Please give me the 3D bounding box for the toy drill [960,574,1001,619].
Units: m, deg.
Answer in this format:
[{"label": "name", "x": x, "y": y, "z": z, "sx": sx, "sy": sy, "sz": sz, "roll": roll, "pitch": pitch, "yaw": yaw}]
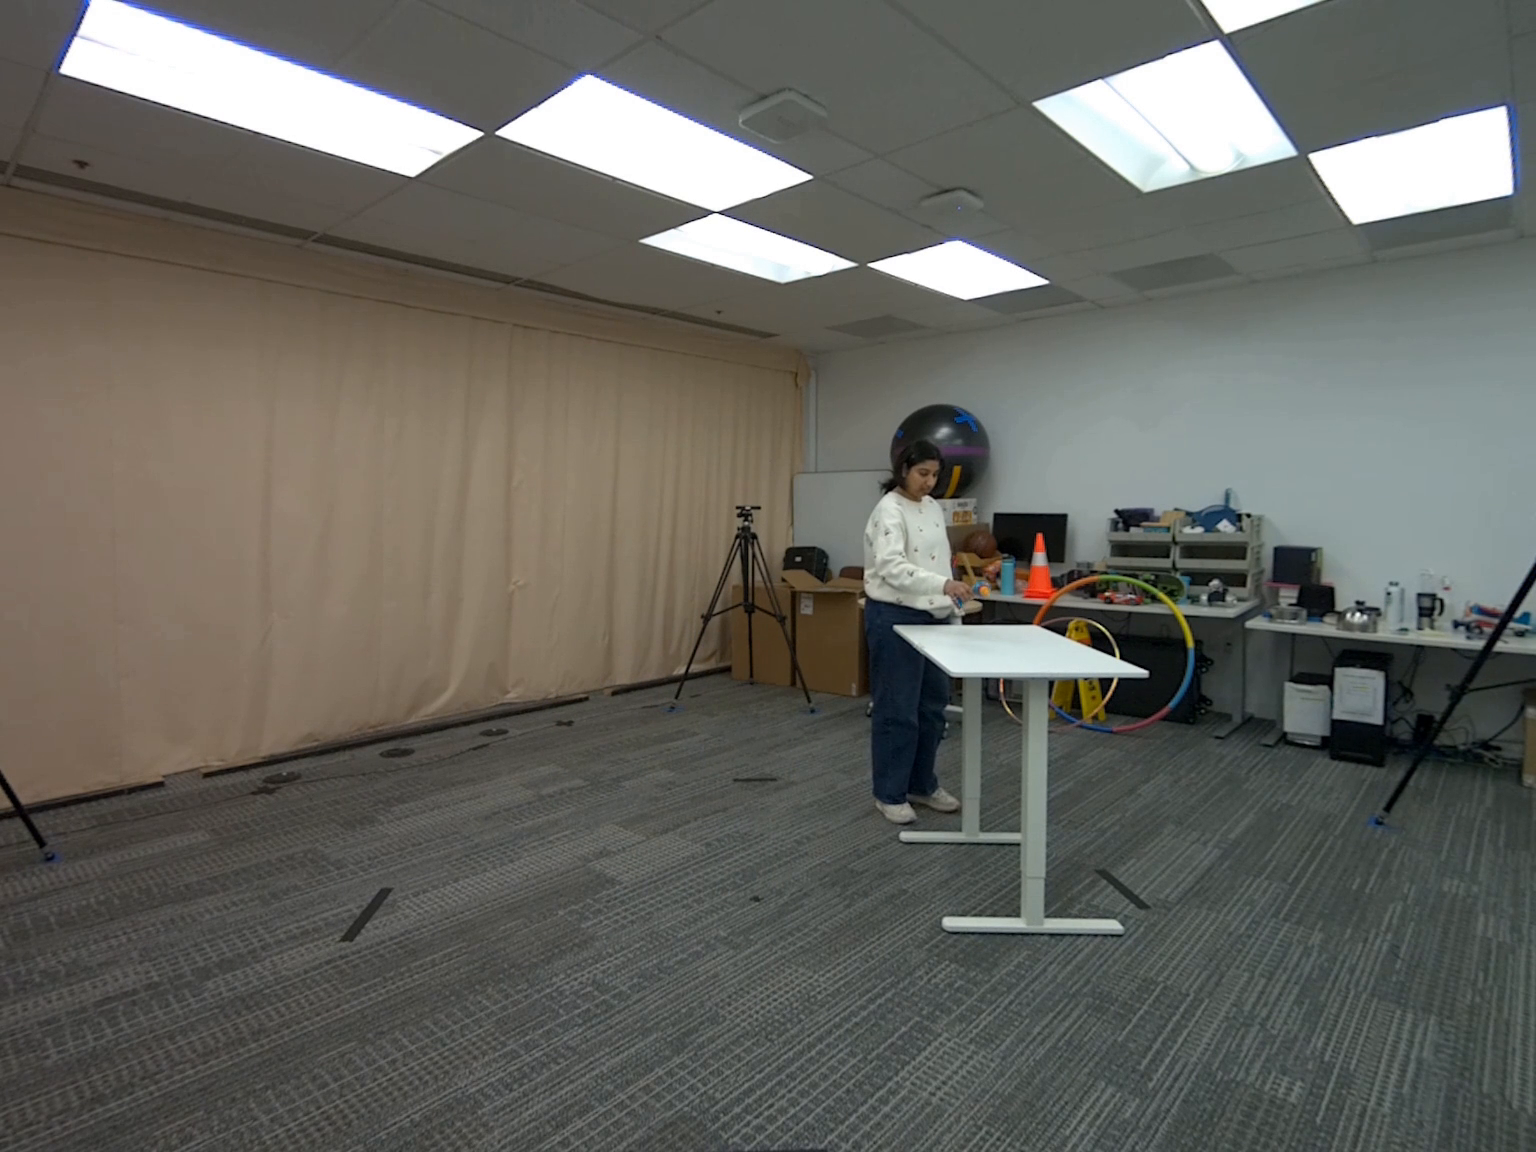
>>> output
[{"label": "toy drill", "x": 0.768, "y": 0.073, "z": 3.182, "sx": 0.146, "sy": 0.060, "sz": 0.171, "roll": -34, "pitch": 9, "yaw": 5}]
